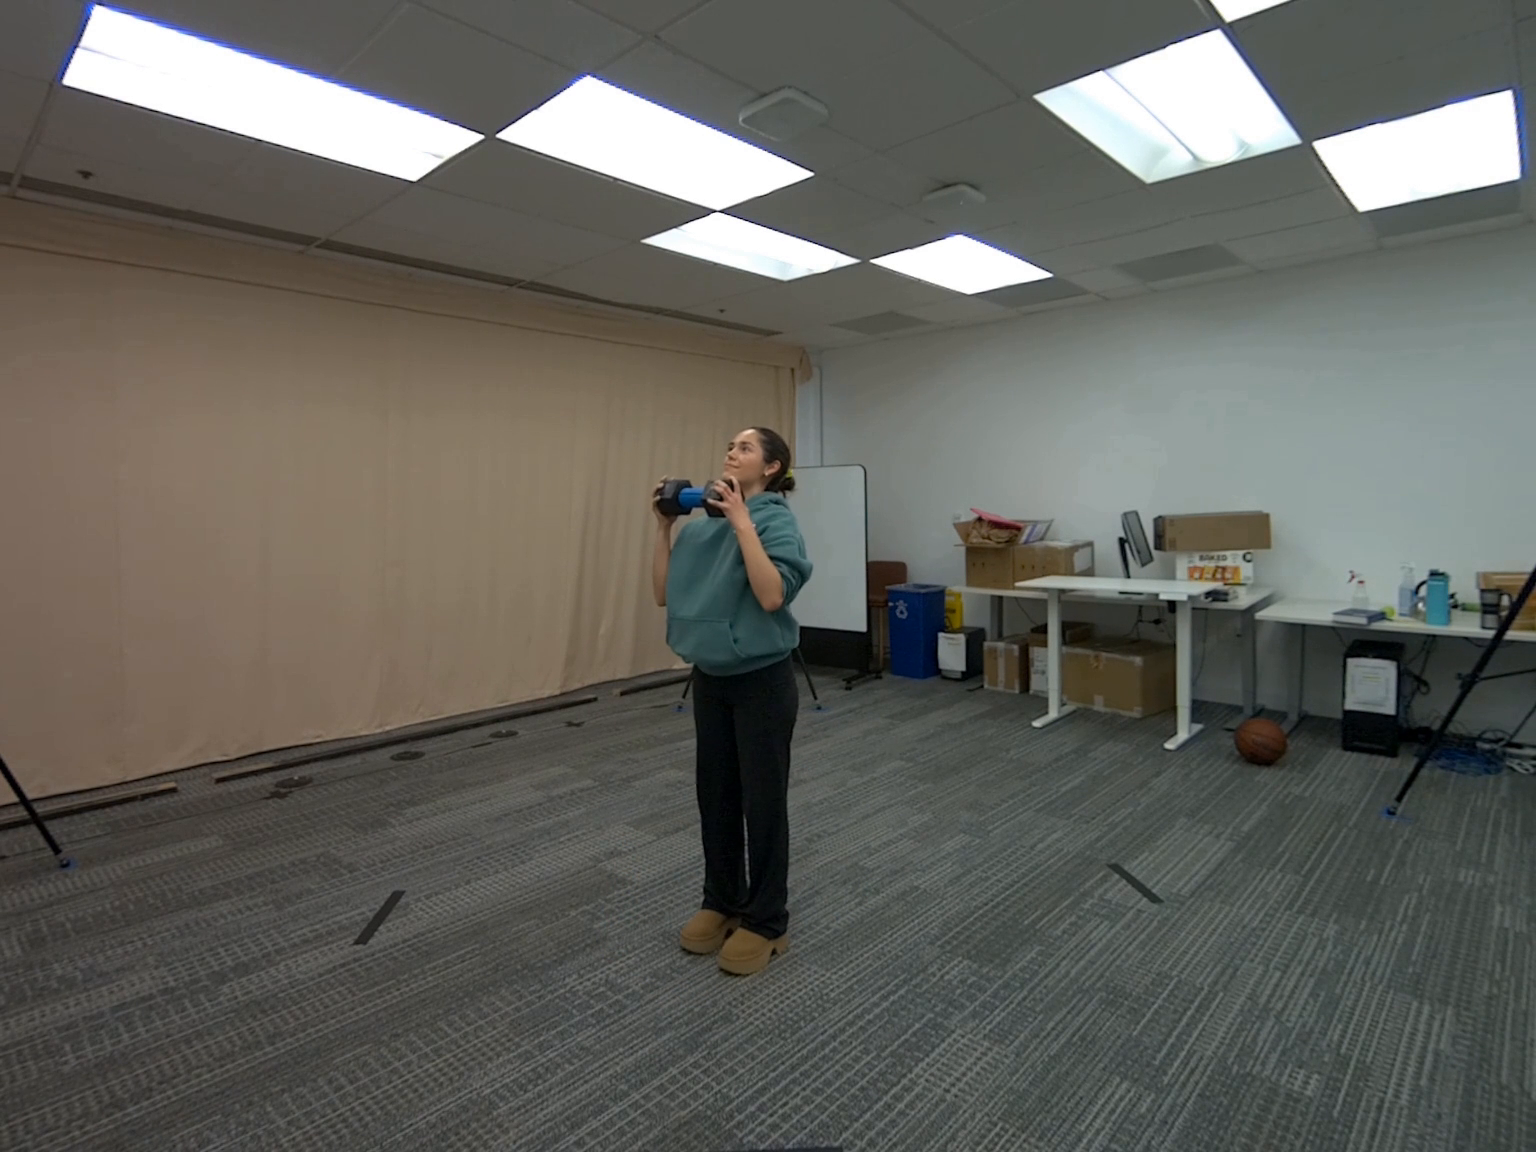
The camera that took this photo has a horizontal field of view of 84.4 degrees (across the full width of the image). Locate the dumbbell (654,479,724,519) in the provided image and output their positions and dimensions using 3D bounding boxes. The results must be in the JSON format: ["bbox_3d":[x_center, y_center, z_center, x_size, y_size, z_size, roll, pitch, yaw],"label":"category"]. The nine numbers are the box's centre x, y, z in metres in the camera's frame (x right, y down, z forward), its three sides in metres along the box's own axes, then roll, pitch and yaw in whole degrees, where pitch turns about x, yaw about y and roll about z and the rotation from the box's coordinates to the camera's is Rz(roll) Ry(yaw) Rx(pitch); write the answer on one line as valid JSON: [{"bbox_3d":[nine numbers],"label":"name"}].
[{"bbox_3d":[-0.197,-0.227,2.488,0.303,0.120,0.107,6,39,45],"label":"dumbbell"}]
